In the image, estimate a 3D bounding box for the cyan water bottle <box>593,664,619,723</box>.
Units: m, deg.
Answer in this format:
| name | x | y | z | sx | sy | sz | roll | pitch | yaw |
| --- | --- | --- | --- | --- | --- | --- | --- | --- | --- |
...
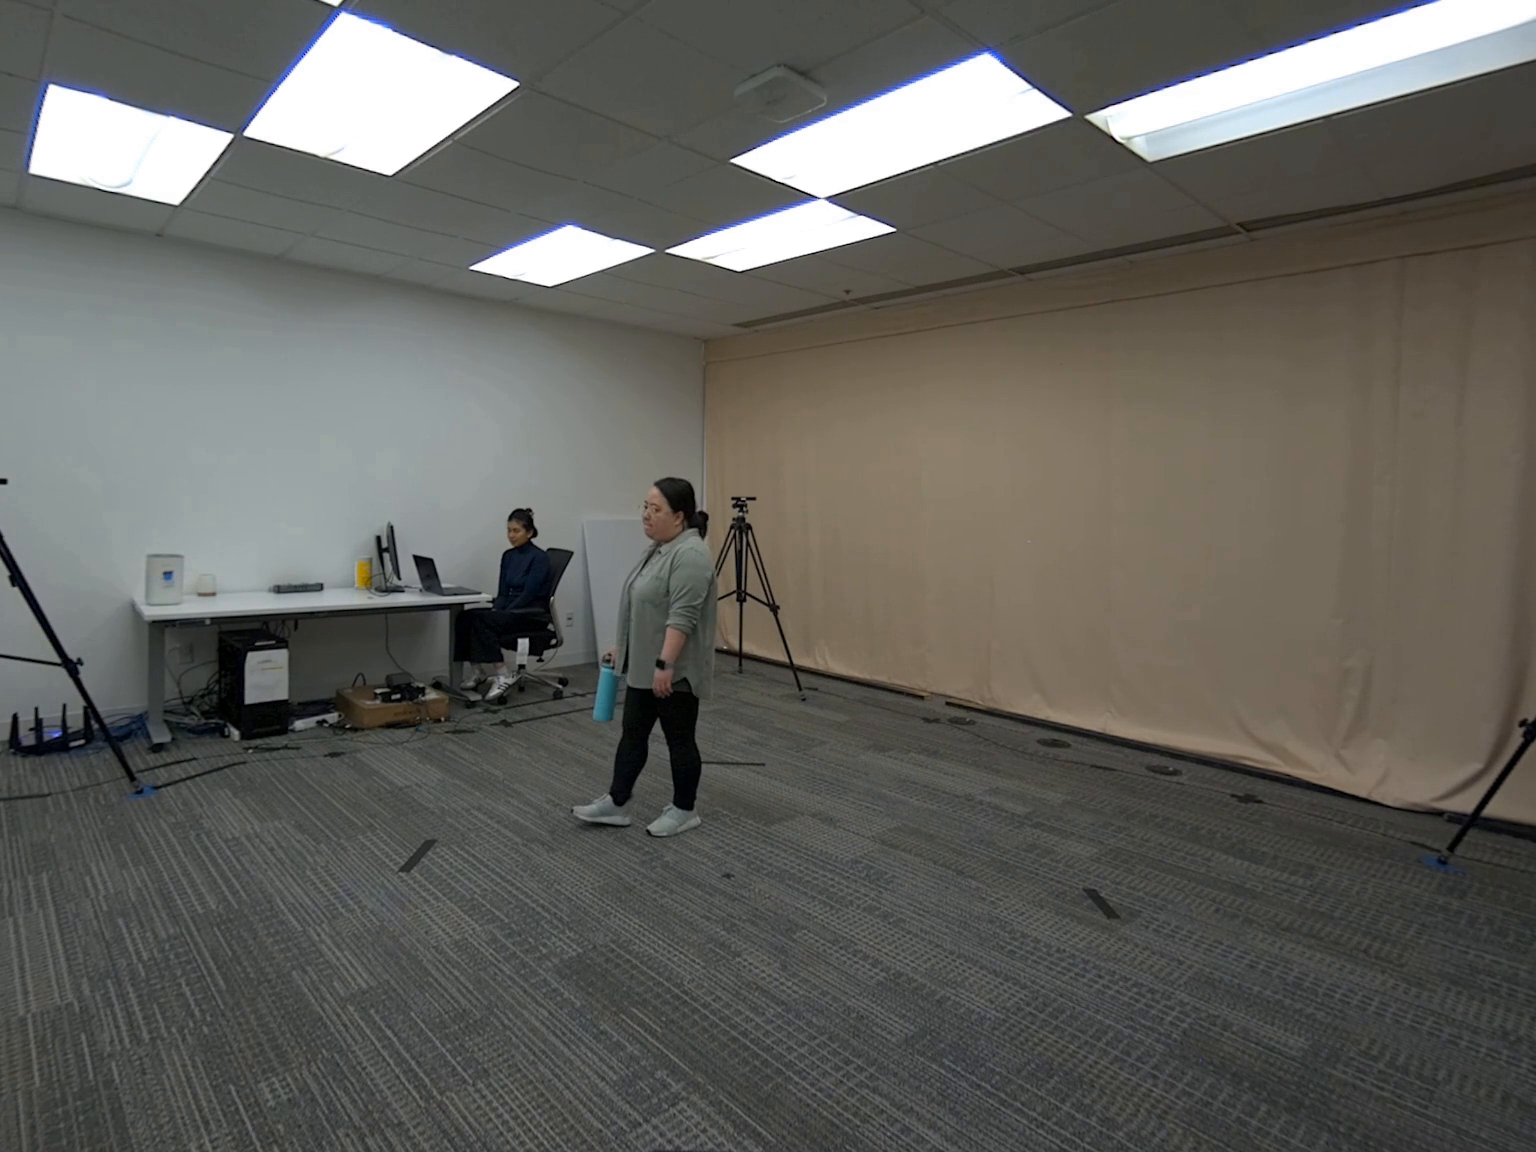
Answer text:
| name | x | y | z | sx | sy | sz | roll | pitch | yaw |
| --- | --- | --- | --- | --- | --- | --- | --- | --- | --- |
| cyan water bottle | -0.700 | 0.492 | 3.709 | 0.092 | 0.284 | 0.092 | 7 | -3 | -1 |
